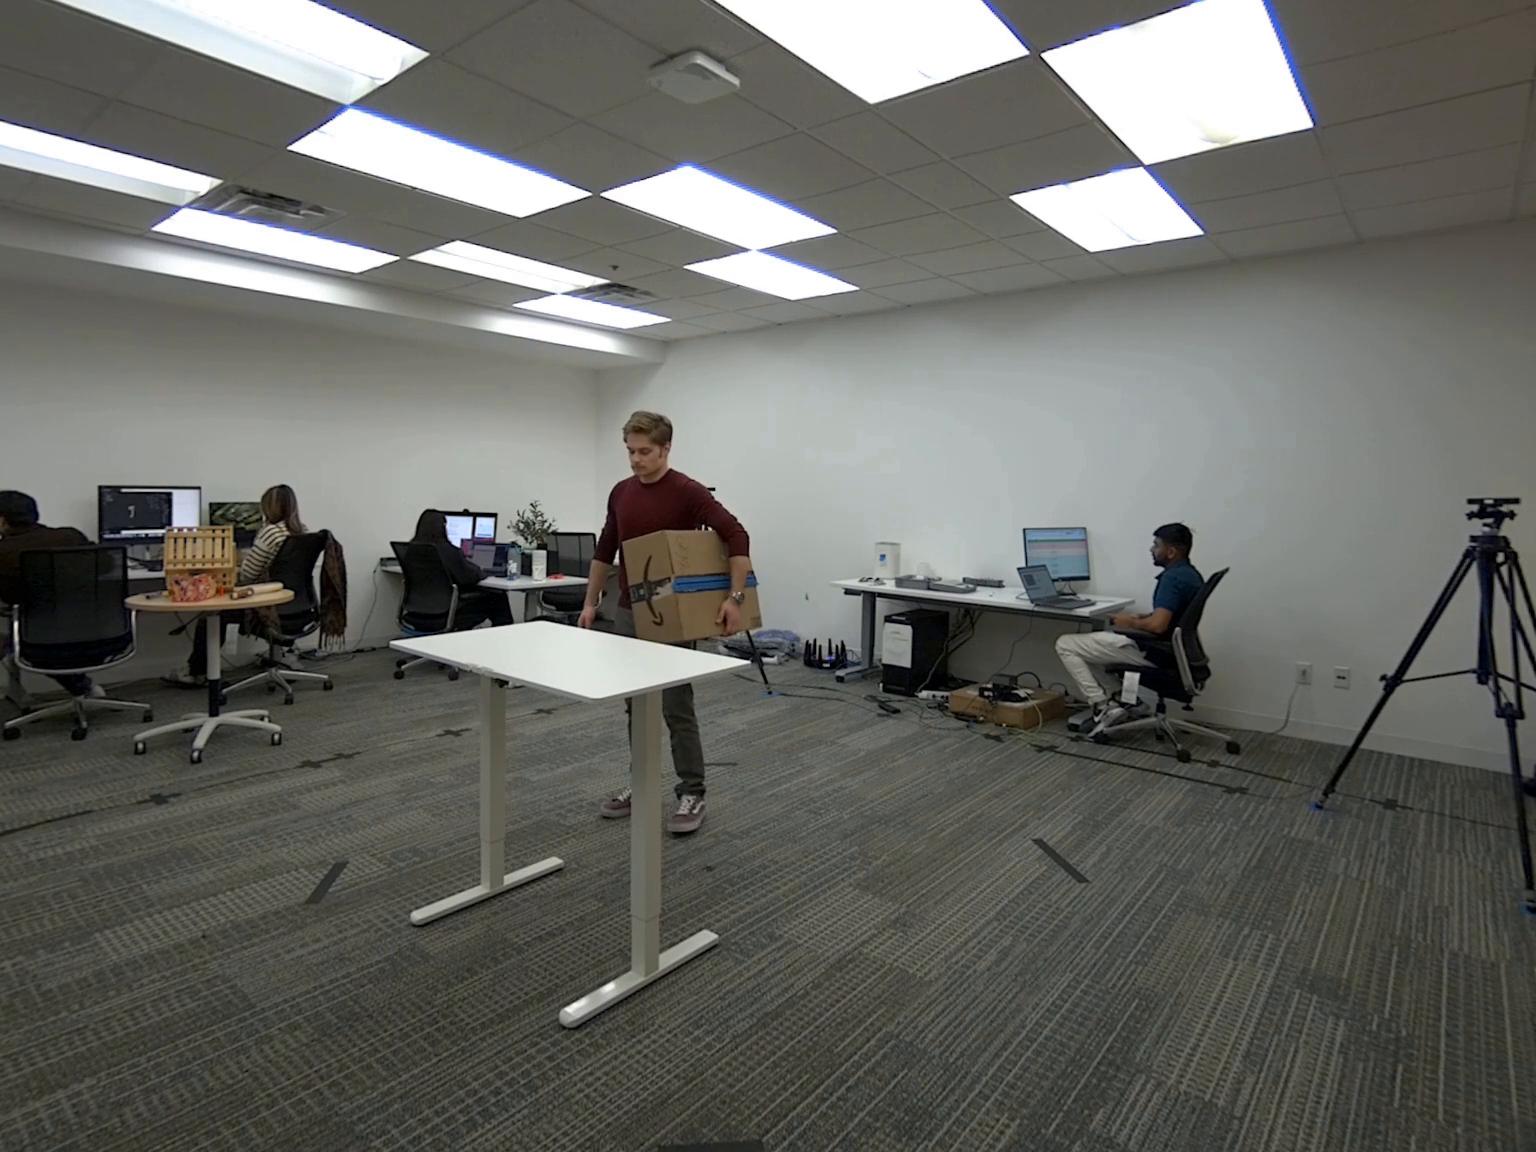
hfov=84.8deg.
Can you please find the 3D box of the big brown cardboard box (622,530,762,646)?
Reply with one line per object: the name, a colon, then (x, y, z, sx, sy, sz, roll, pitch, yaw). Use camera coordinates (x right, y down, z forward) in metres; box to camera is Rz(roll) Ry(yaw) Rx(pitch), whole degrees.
big brown cardboard box: (-0.300, 0.040, 3.406, 0.238, 0.421, 0.572, -15, -6, 32)
